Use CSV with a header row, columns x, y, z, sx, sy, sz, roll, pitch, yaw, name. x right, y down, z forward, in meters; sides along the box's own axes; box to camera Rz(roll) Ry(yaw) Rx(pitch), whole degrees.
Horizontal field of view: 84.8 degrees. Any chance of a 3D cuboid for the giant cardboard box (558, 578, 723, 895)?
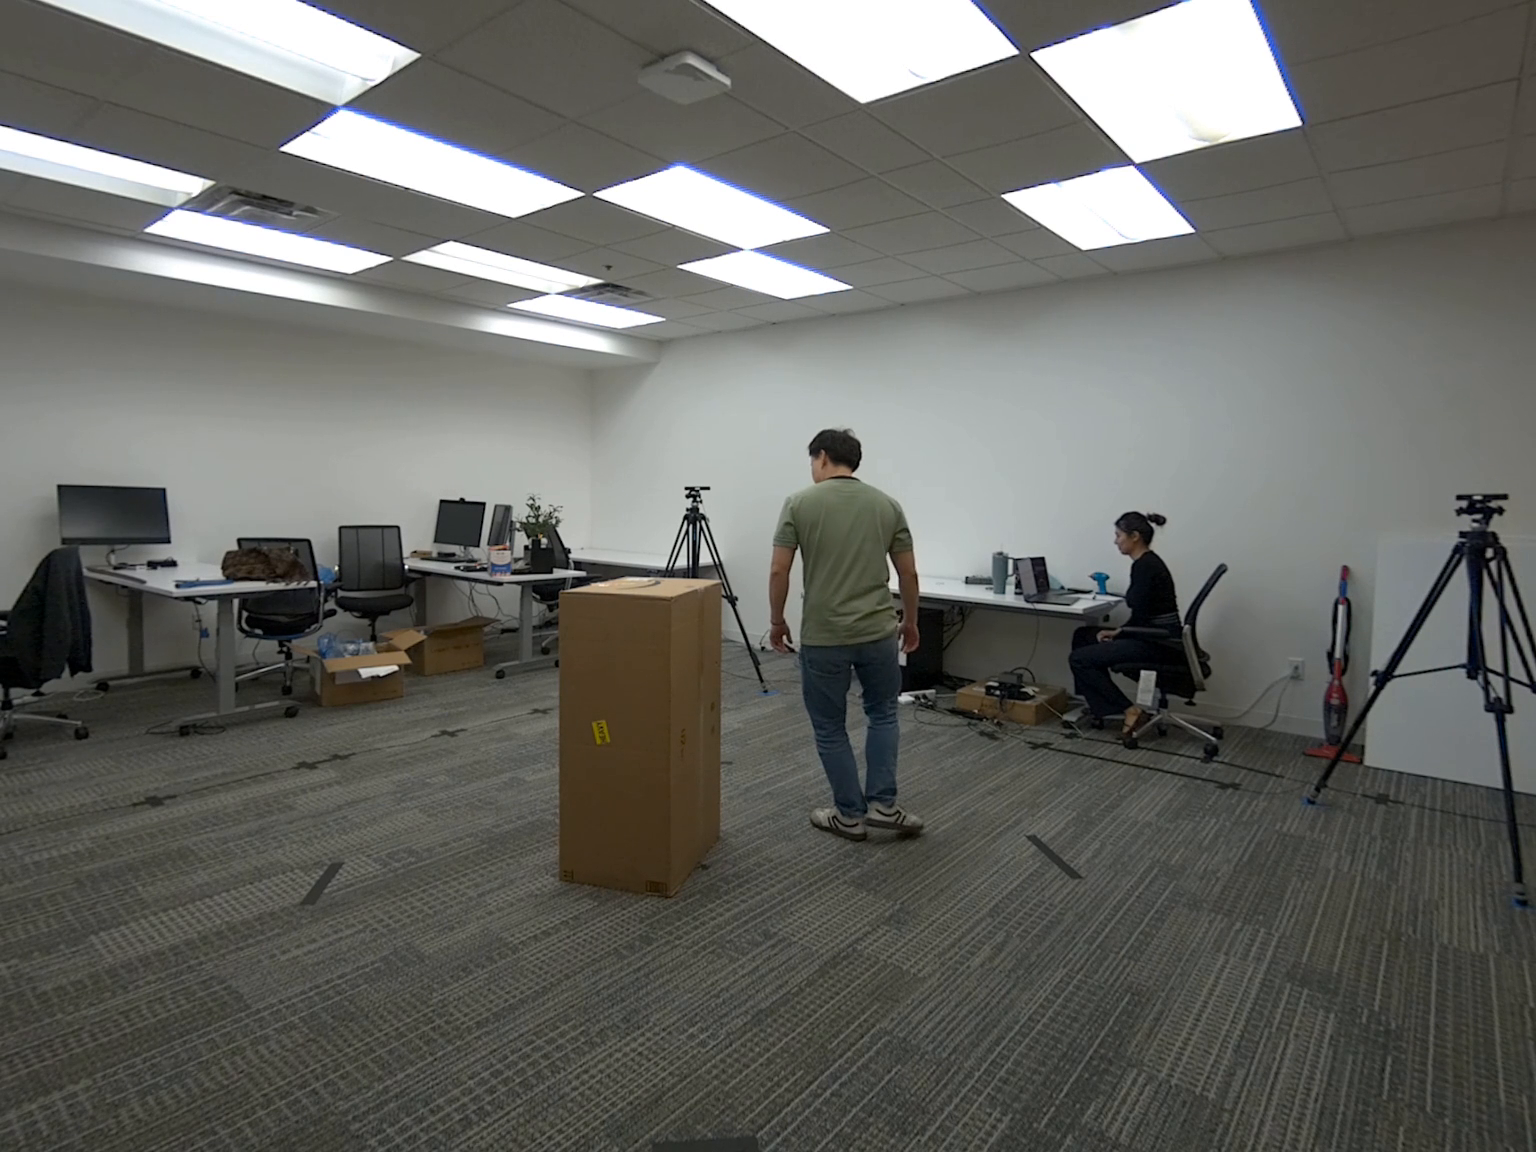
x,y,z,sx,sy,sz,roll,pitch,yaw,name
-0.472,0.545,3.172,0.434,1.023,0.568,1,3,17,giant cardboard box
